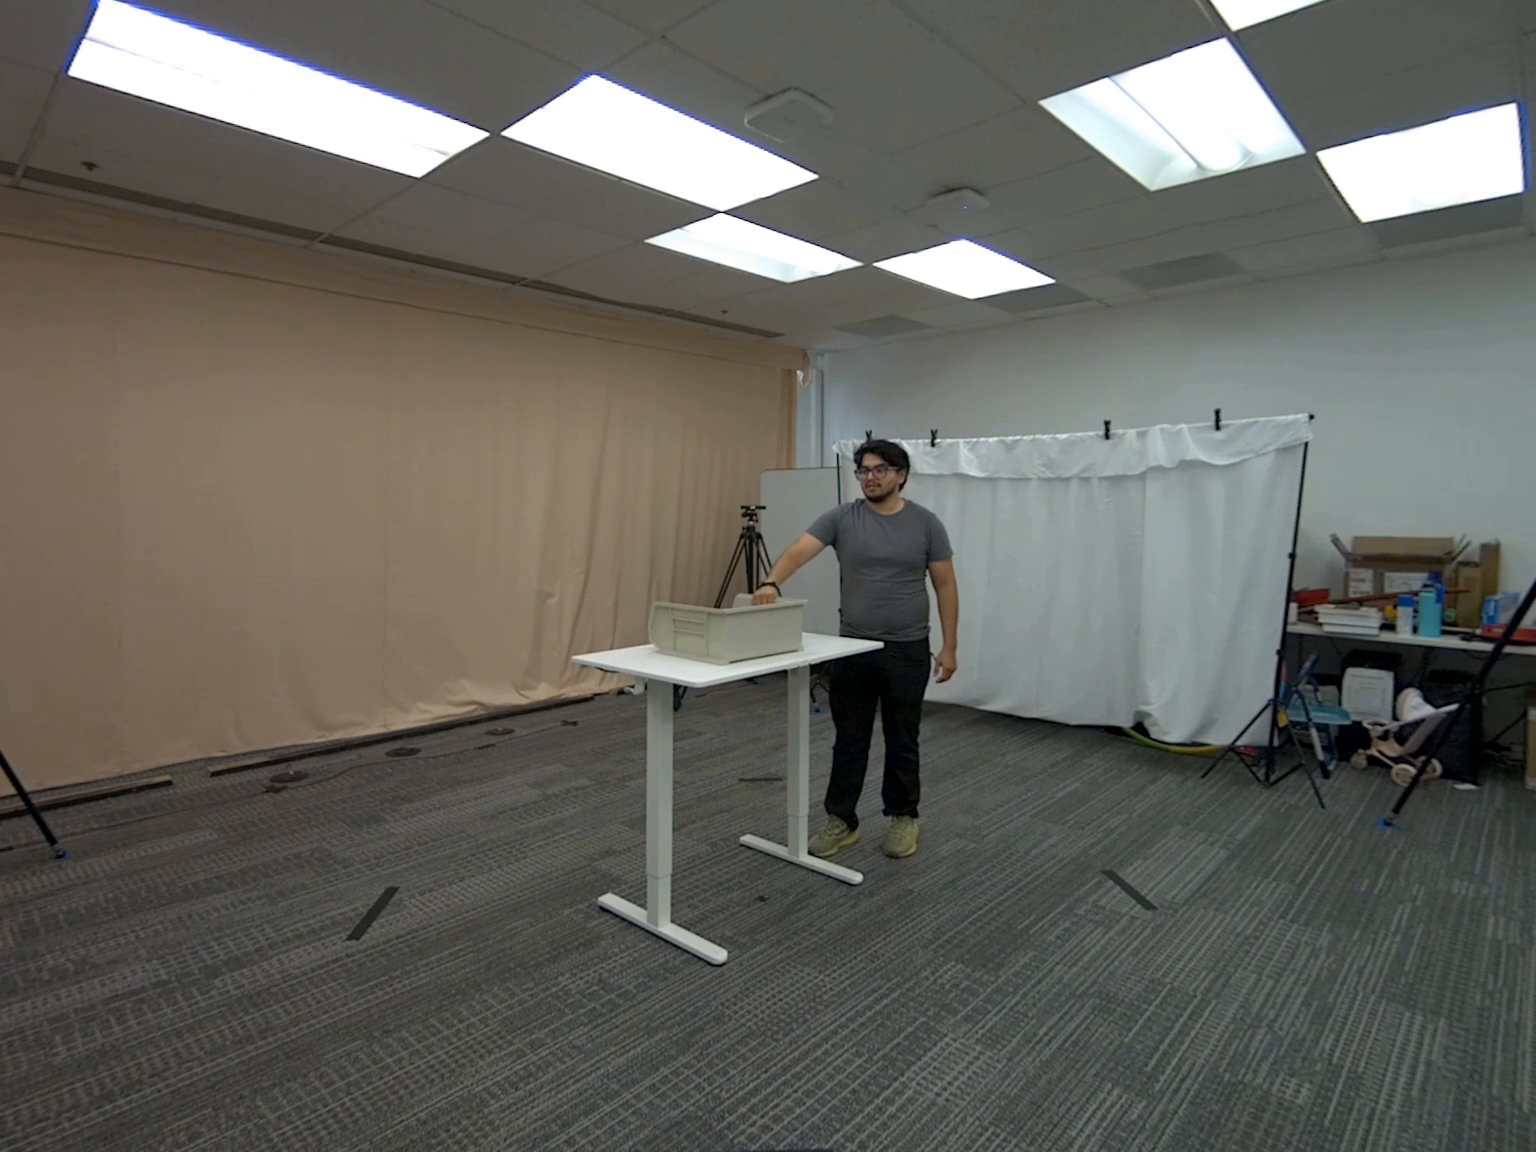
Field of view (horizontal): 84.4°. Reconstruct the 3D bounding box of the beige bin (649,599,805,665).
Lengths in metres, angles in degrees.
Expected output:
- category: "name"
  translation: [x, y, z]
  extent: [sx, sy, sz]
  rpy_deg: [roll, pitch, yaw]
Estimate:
- category: "beige bin"
  translation: [-0.140, 0.174, 2.940]
  extent: [0.390, 0.188, 0.409]
  rpy_deg: [7, 7, 44]
